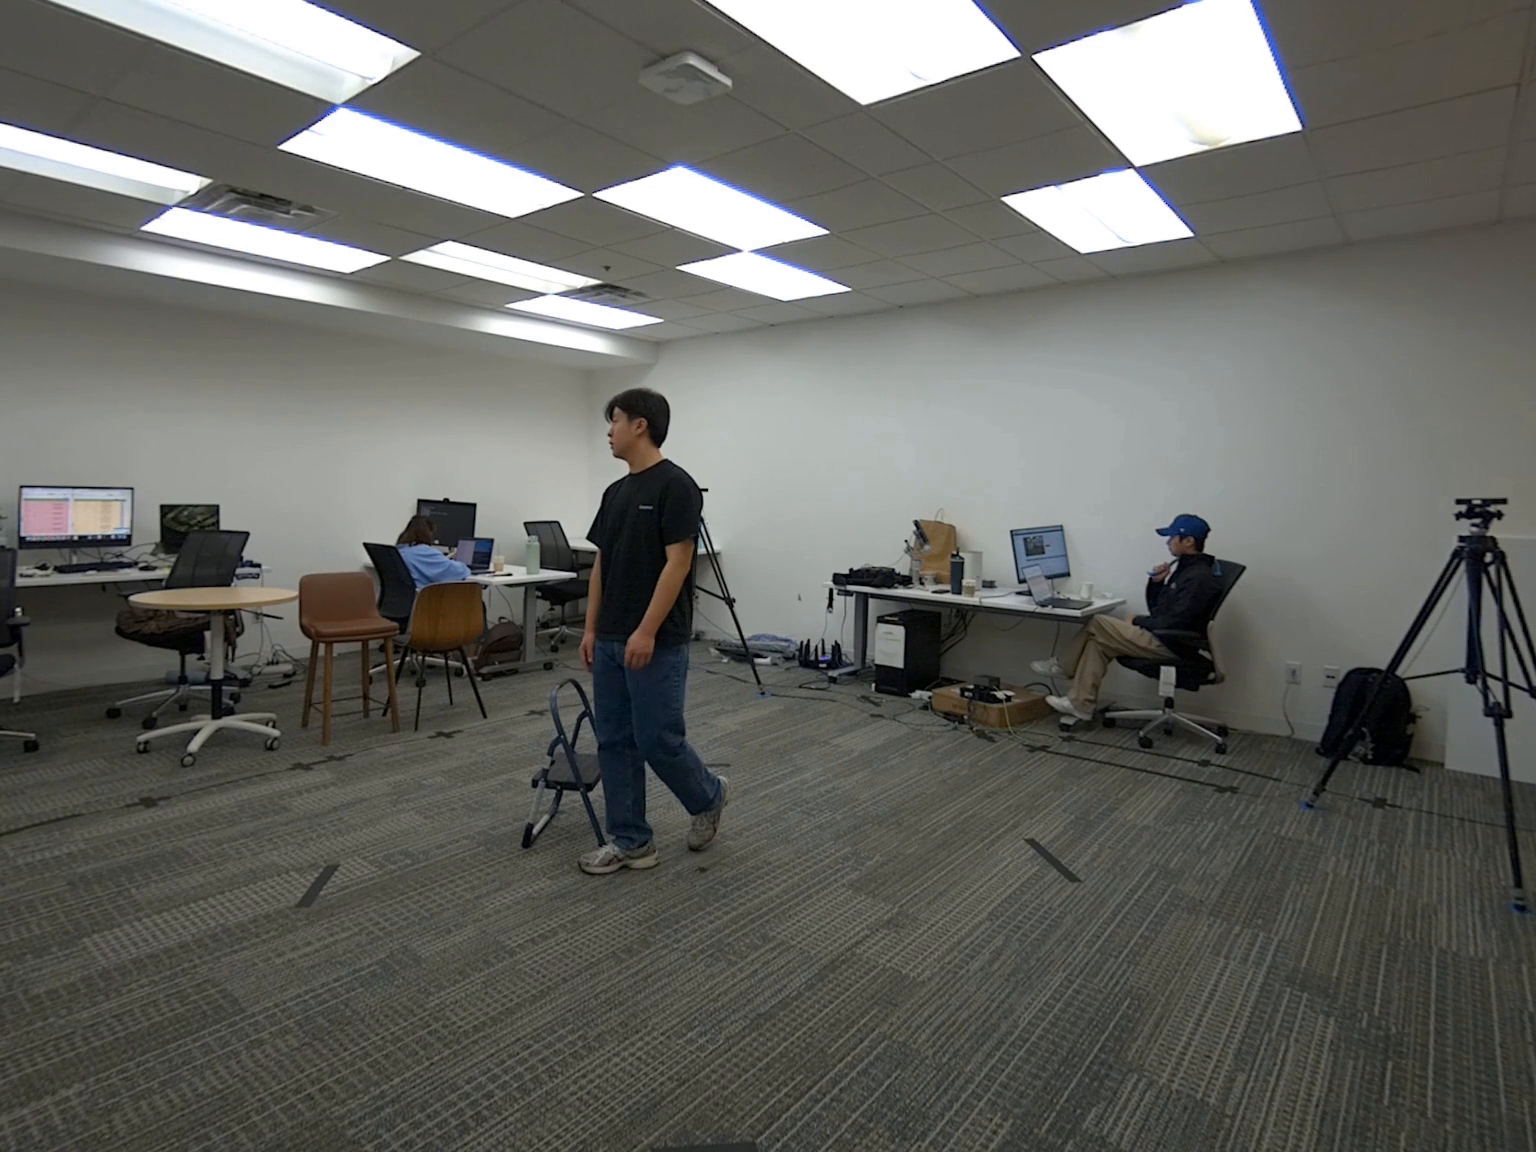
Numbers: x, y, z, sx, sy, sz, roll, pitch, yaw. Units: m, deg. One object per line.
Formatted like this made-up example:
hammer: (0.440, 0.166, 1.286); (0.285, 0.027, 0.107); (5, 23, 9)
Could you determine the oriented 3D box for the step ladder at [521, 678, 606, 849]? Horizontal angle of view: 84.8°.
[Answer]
step ladder: (-0.776, 0.728, 3.437); (0.351, 0.605, 0.430); (1, 3, 2)
